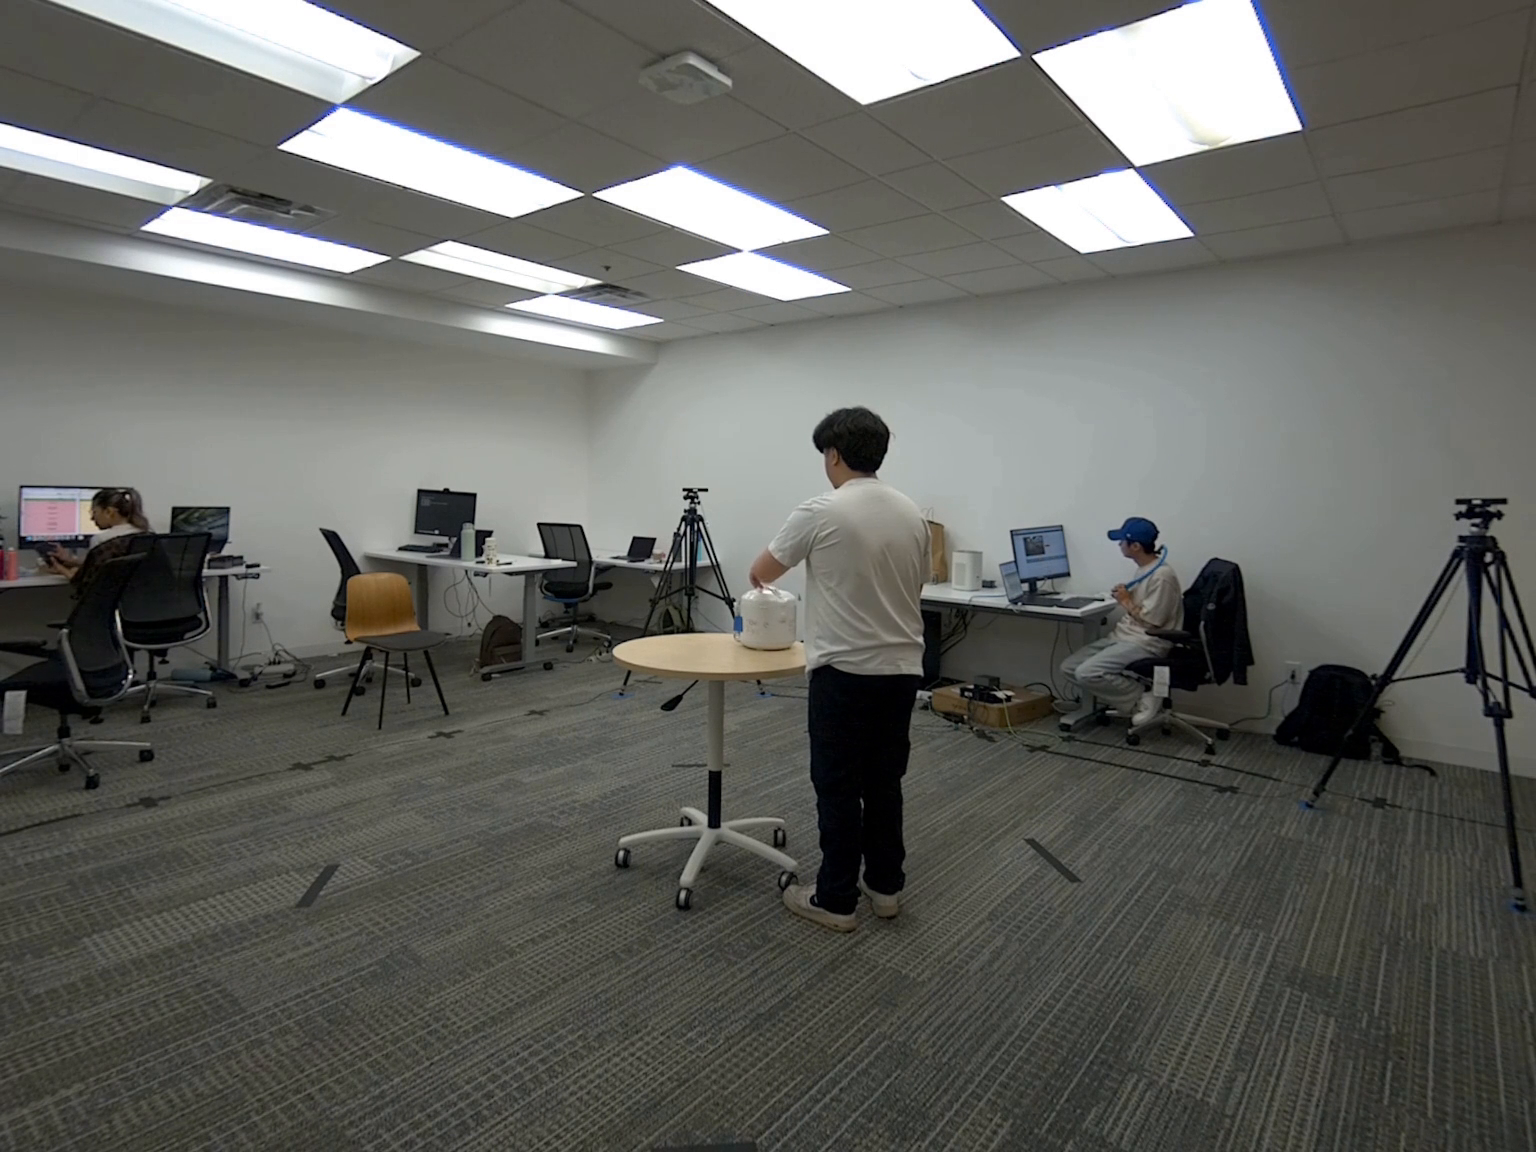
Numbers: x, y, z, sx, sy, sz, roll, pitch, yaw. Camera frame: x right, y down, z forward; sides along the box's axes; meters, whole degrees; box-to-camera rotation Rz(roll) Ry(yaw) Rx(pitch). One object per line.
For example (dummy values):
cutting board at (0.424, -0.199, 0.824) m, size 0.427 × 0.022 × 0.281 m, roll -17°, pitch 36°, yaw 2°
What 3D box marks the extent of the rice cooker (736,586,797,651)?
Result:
rice cooker at (-0.011, 0.149, 3.219) m, size 0.212 × 0.232 × 0.227 m, roll -2°, pitch 5°, yaw -28°
